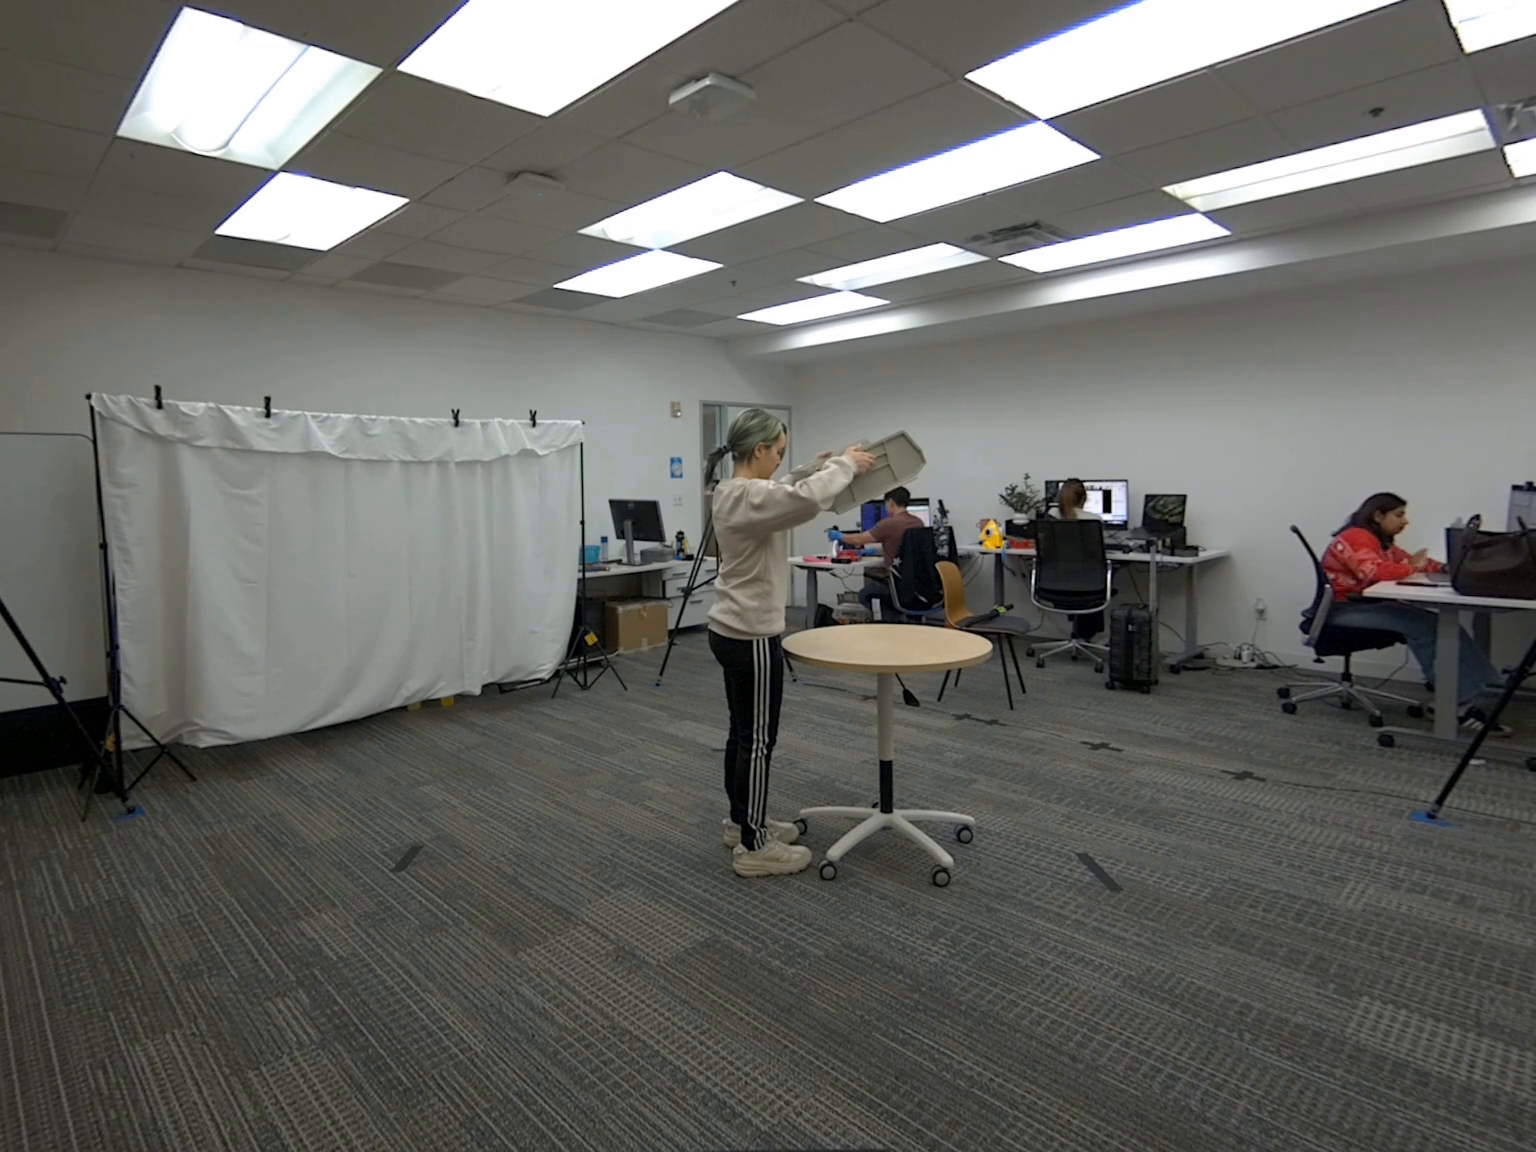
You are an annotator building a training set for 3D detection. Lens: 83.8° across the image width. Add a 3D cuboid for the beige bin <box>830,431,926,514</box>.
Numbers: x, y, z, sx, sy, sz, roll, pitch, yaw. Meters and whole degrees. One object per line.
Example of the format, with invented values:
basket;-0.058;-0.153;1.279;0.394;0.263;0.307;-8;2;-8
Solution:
beige bin;0.328;-0.382;3.167;0.376;0.187;0.428;-27;9;-7
